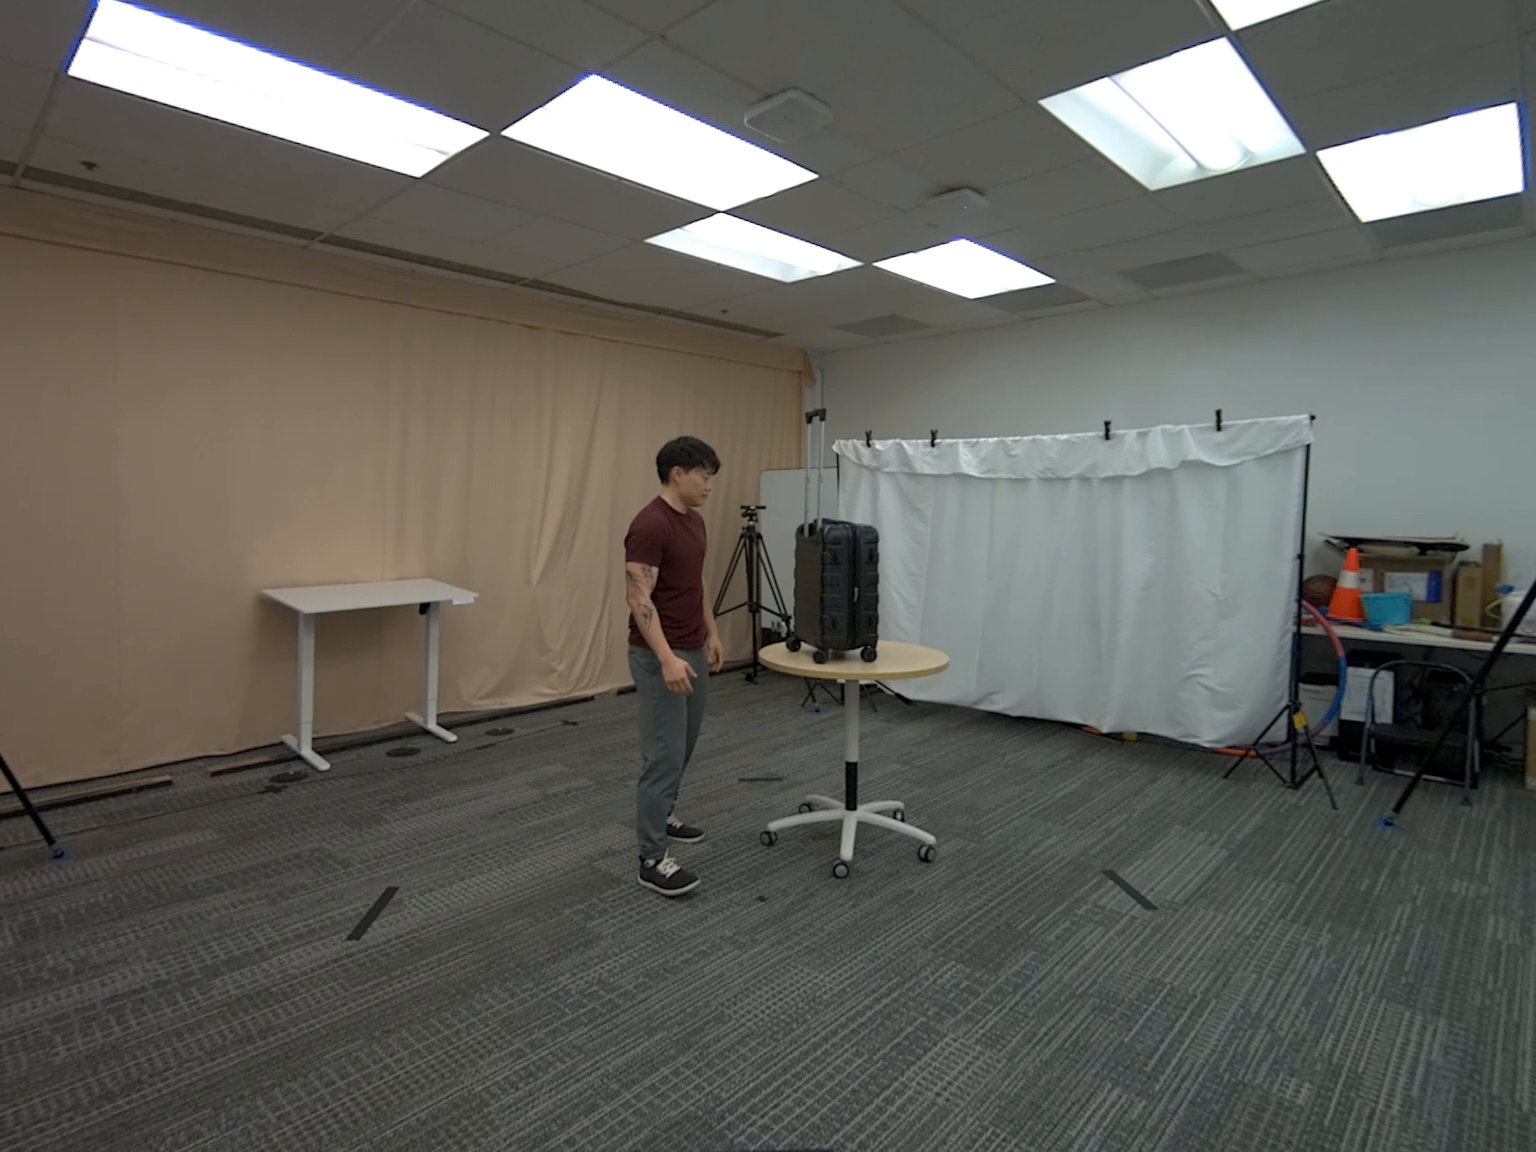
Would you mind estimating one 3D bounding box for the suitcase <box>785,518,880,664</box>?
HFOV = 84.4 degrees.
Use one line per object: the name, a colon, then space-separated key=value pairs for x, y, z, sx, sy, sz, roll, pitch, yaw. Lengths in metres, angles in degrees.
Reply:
suitcase: x=0.280 y=-0.156 z=3.376 sx=0.253 sy=0.976 sz=0.390 roll=2 pitch=4 yaw=-14
